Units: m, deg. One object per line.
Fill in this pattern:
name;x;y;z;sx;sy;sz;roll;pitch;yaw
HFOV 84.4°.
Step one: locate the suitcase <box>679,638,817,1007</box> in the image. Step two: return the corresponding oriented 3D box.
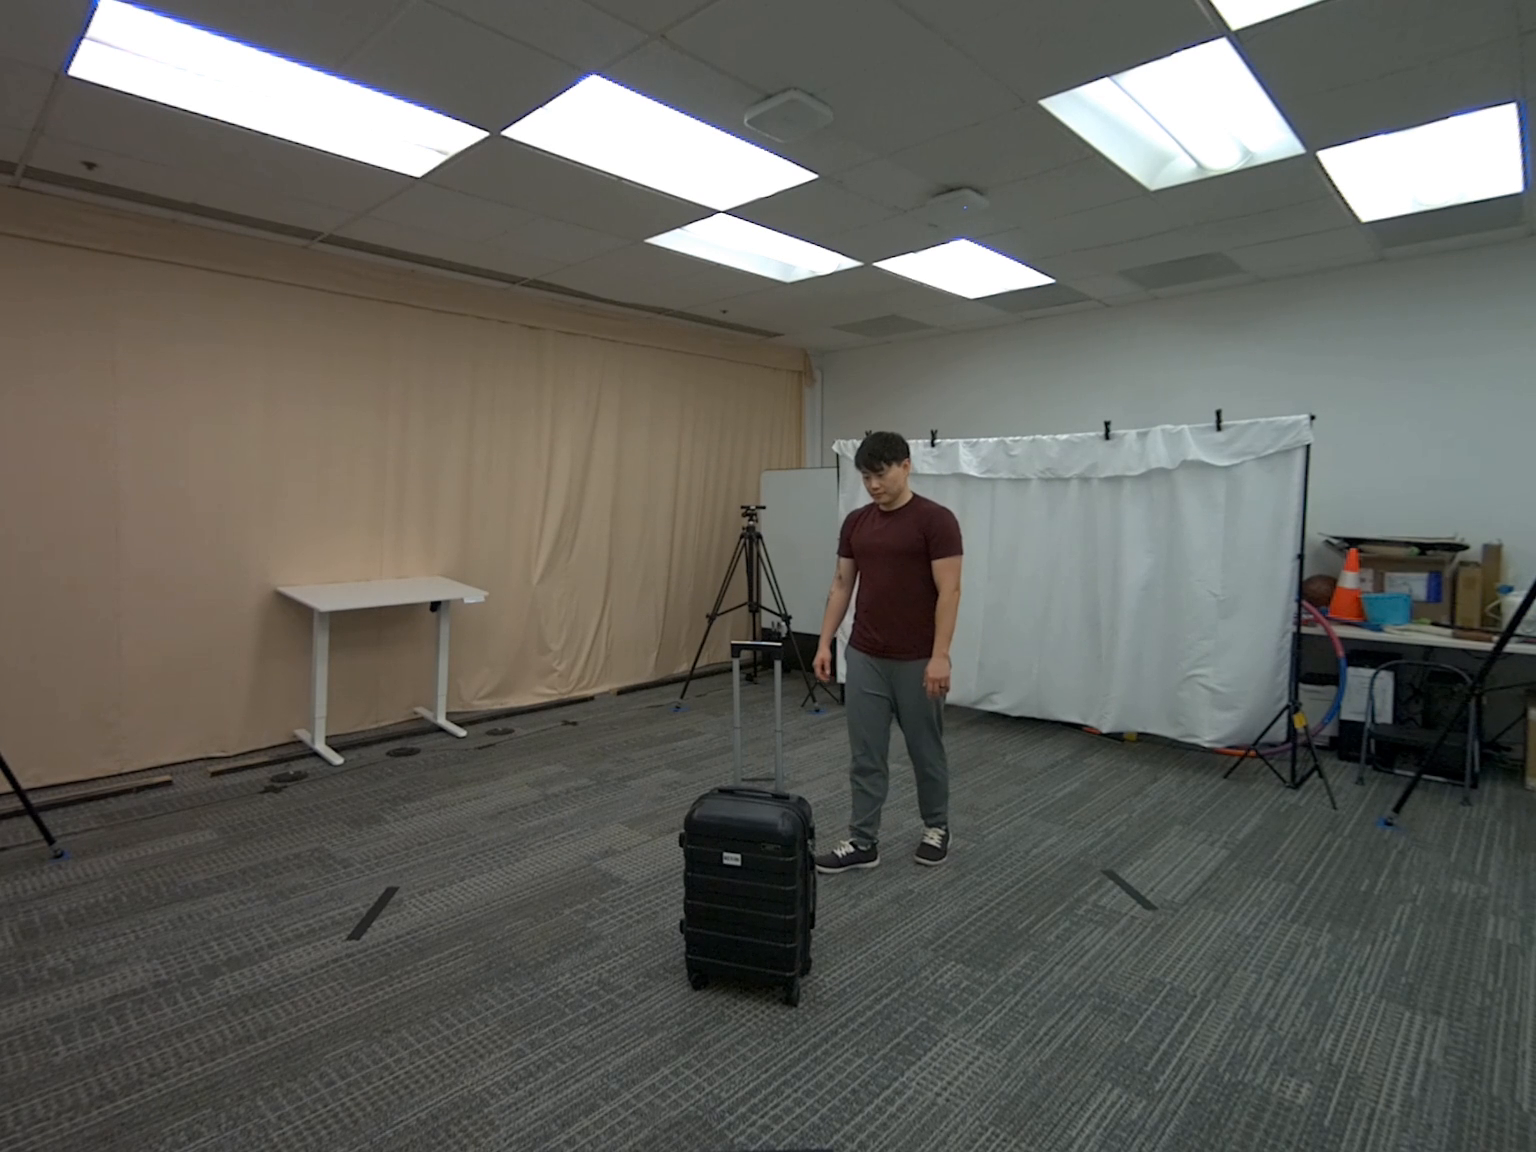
suitcase;-0.052;0.711;2.445;0.391;0.975;0.253;1;6;17
